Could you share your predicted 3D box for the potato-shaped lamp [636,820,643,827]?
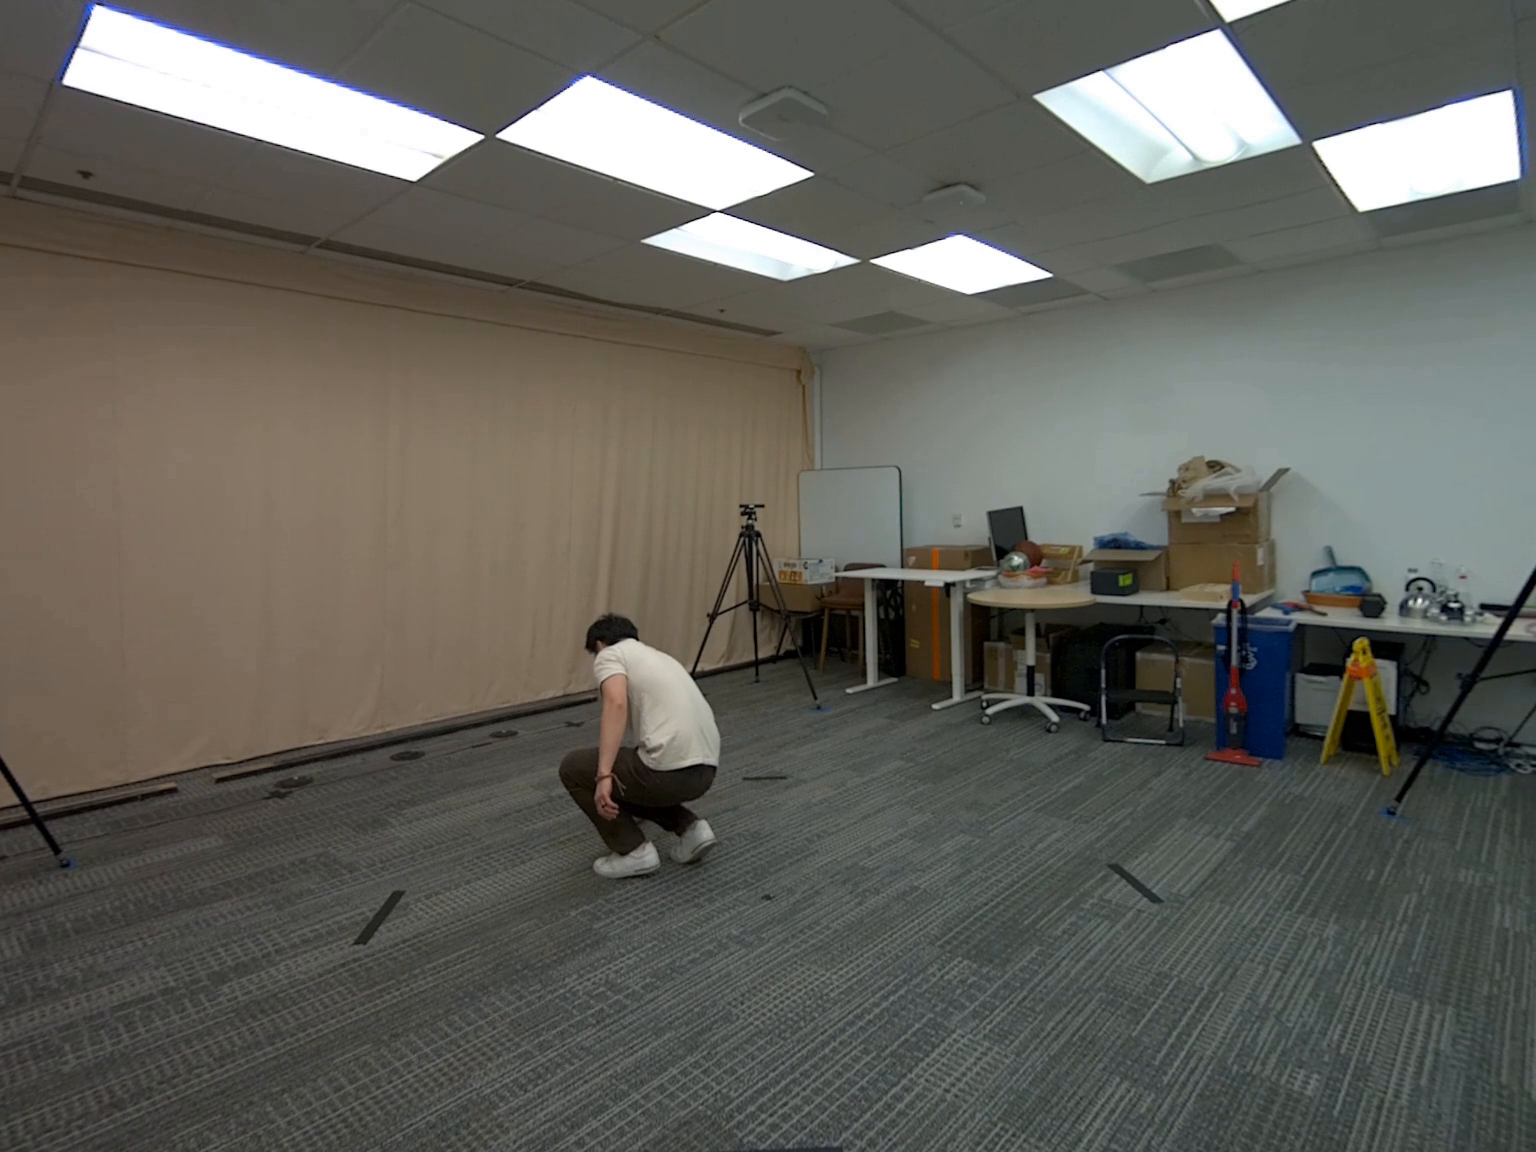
[{"bbox_3d":[-0.635,0.989,3.740,0.160,0.198,0.177,-6,3,-44],"label":"potato-shaped lamp"}]
